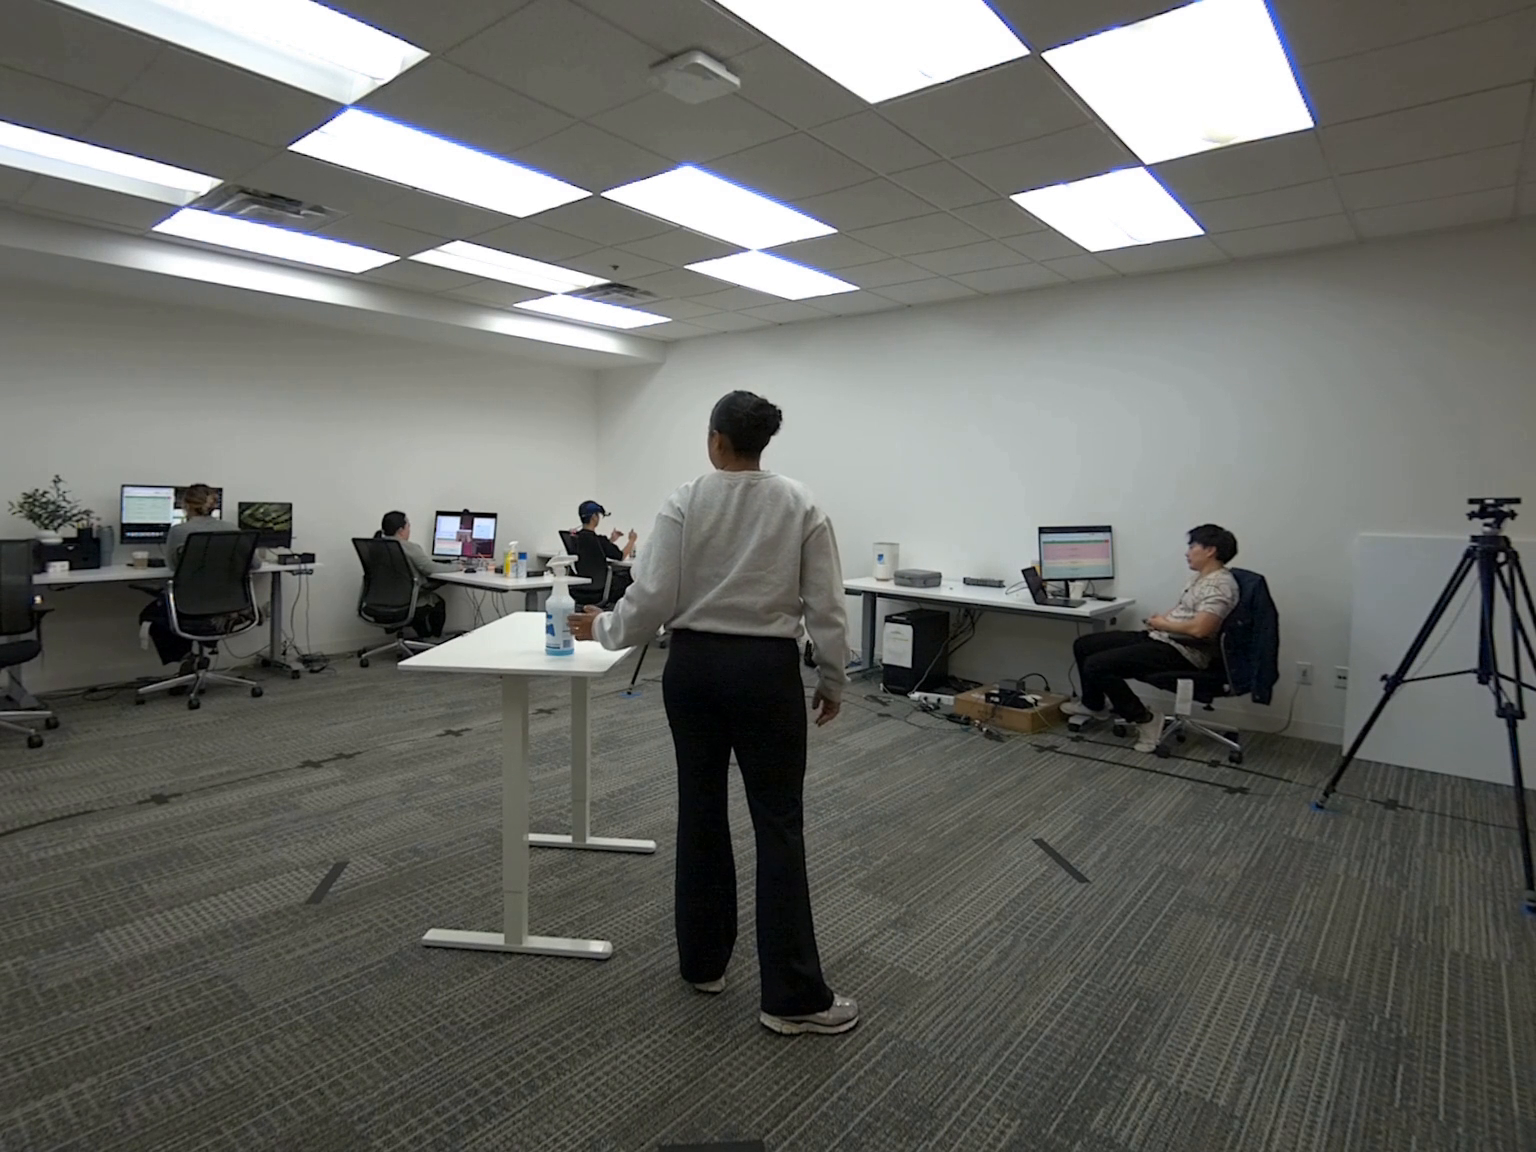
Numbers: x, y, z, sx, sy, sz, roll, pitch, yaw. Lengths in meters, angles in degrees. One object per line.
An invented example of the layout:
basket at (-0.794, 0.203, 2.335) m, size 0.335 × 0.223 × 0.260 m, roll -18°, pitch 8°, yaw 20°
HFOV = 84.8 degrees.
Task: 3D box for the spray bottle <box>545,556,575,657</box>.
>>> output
spray bottle at (-0.641, 0.088, 2.565) m, size 0.092 × 0.297 × 0.085 m, roll 2°, pitch 0°, yaw 18°
